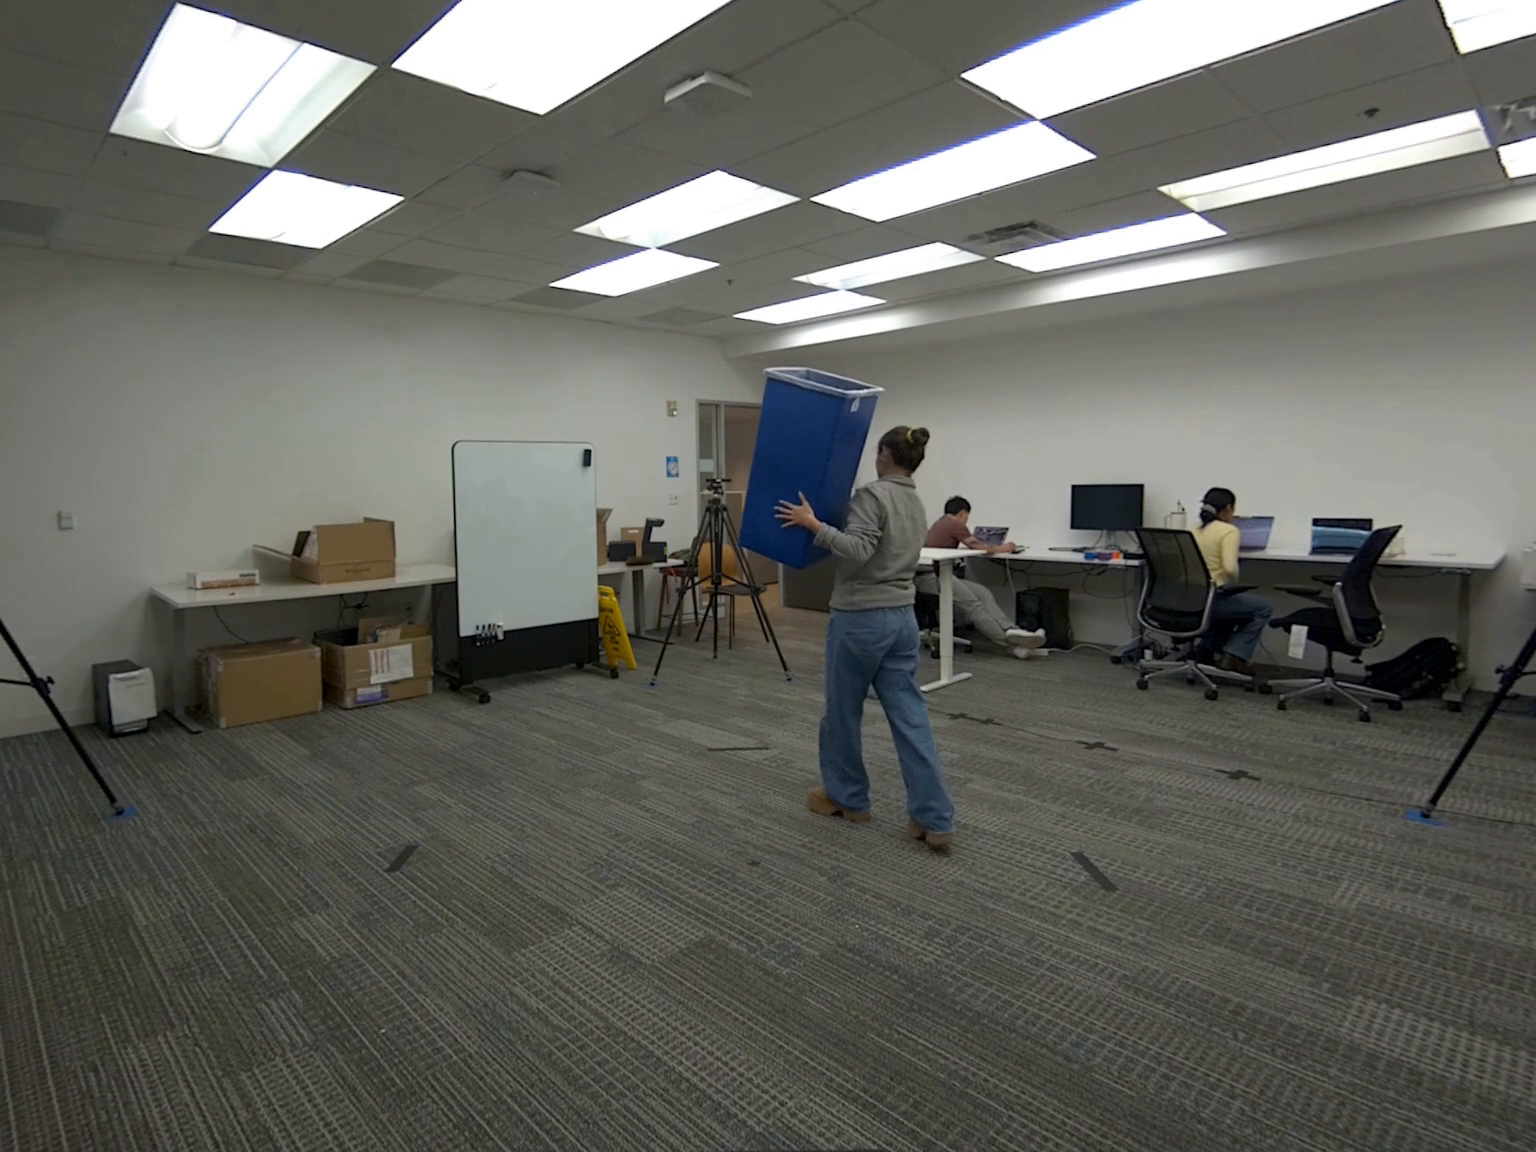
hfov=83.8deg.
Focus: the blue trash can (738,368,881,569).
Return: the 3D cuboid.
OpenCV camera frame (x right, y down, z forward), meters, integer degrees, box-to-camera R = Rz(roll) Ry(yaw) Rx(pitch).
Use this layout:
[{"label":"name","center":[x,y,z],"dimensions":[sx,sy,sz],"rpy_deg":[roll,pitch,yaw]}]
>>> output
[{"label":"blue trash can","center":[0.140,-0.442,3.380],"dimensions":[0.385,0.704,0.371],"rpy_deg":[22,21,26]}]
